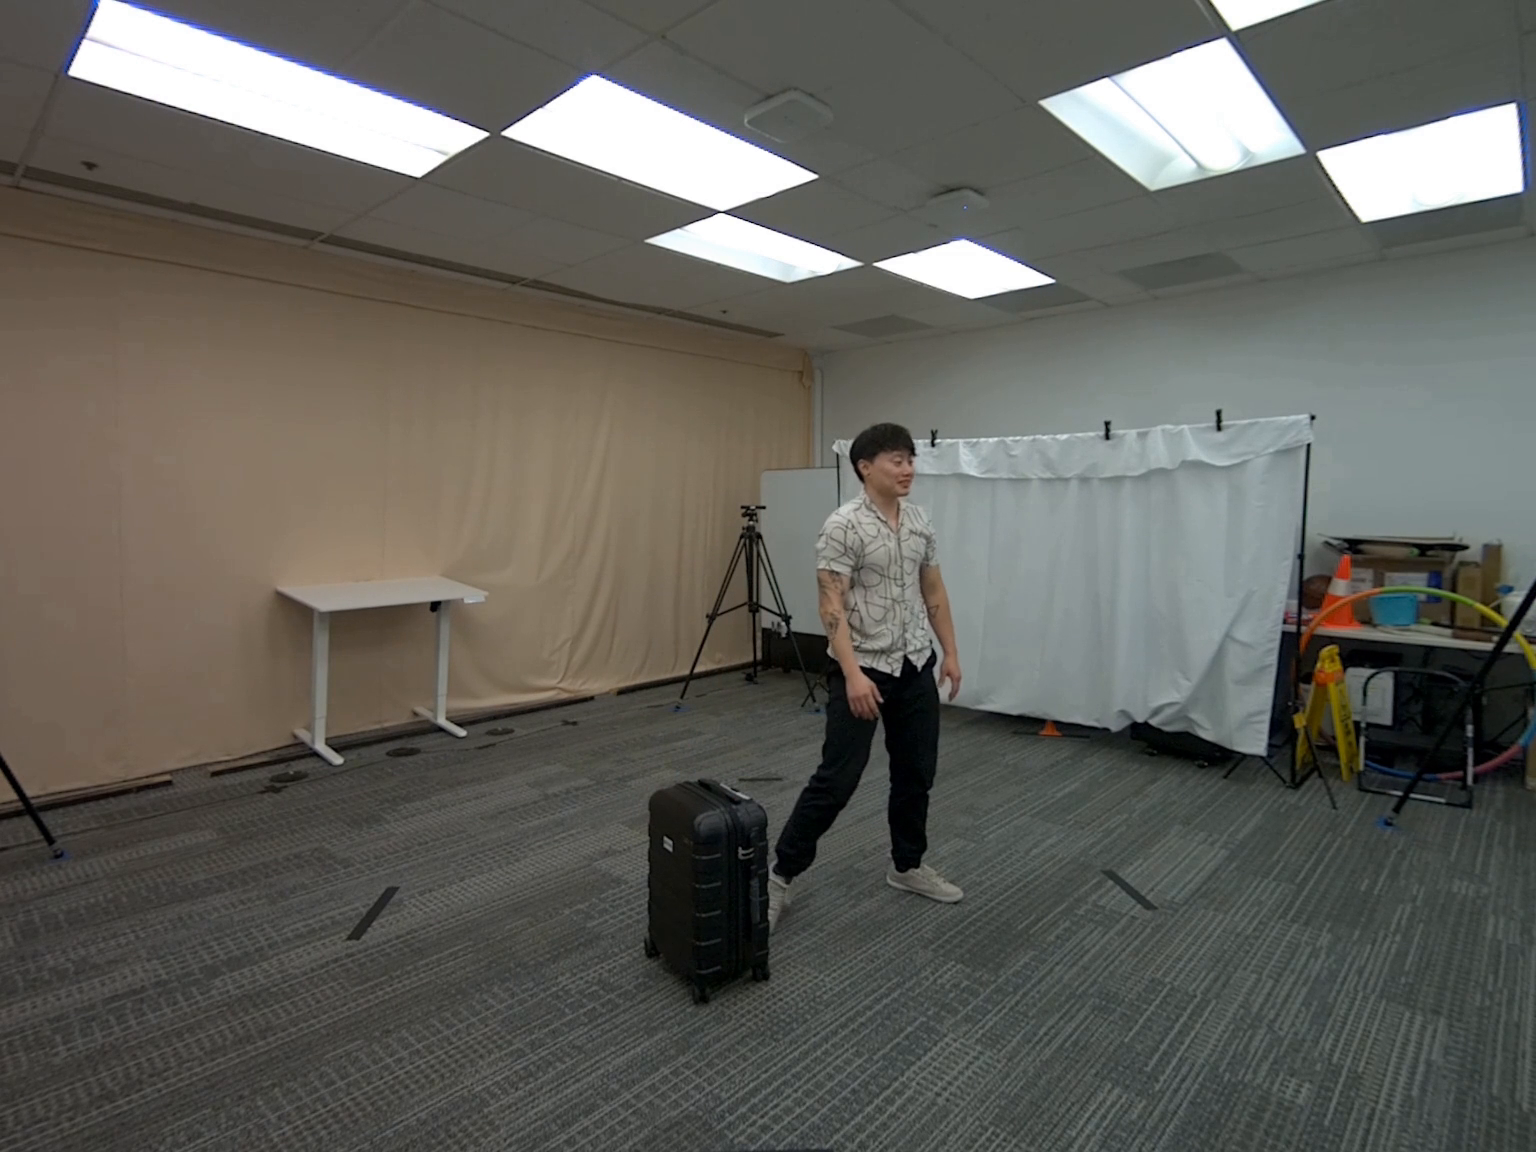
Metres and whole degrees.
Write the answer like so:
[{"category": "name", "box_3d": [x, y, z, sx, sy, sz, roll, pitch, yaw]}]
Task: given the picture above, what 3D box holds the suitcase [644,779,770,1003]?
[{"category": "suitcase", "box_3d": [-0.178, 0.907, 2.505, 0.241, 0.548, 0.387, -2, 5, -34]}]
